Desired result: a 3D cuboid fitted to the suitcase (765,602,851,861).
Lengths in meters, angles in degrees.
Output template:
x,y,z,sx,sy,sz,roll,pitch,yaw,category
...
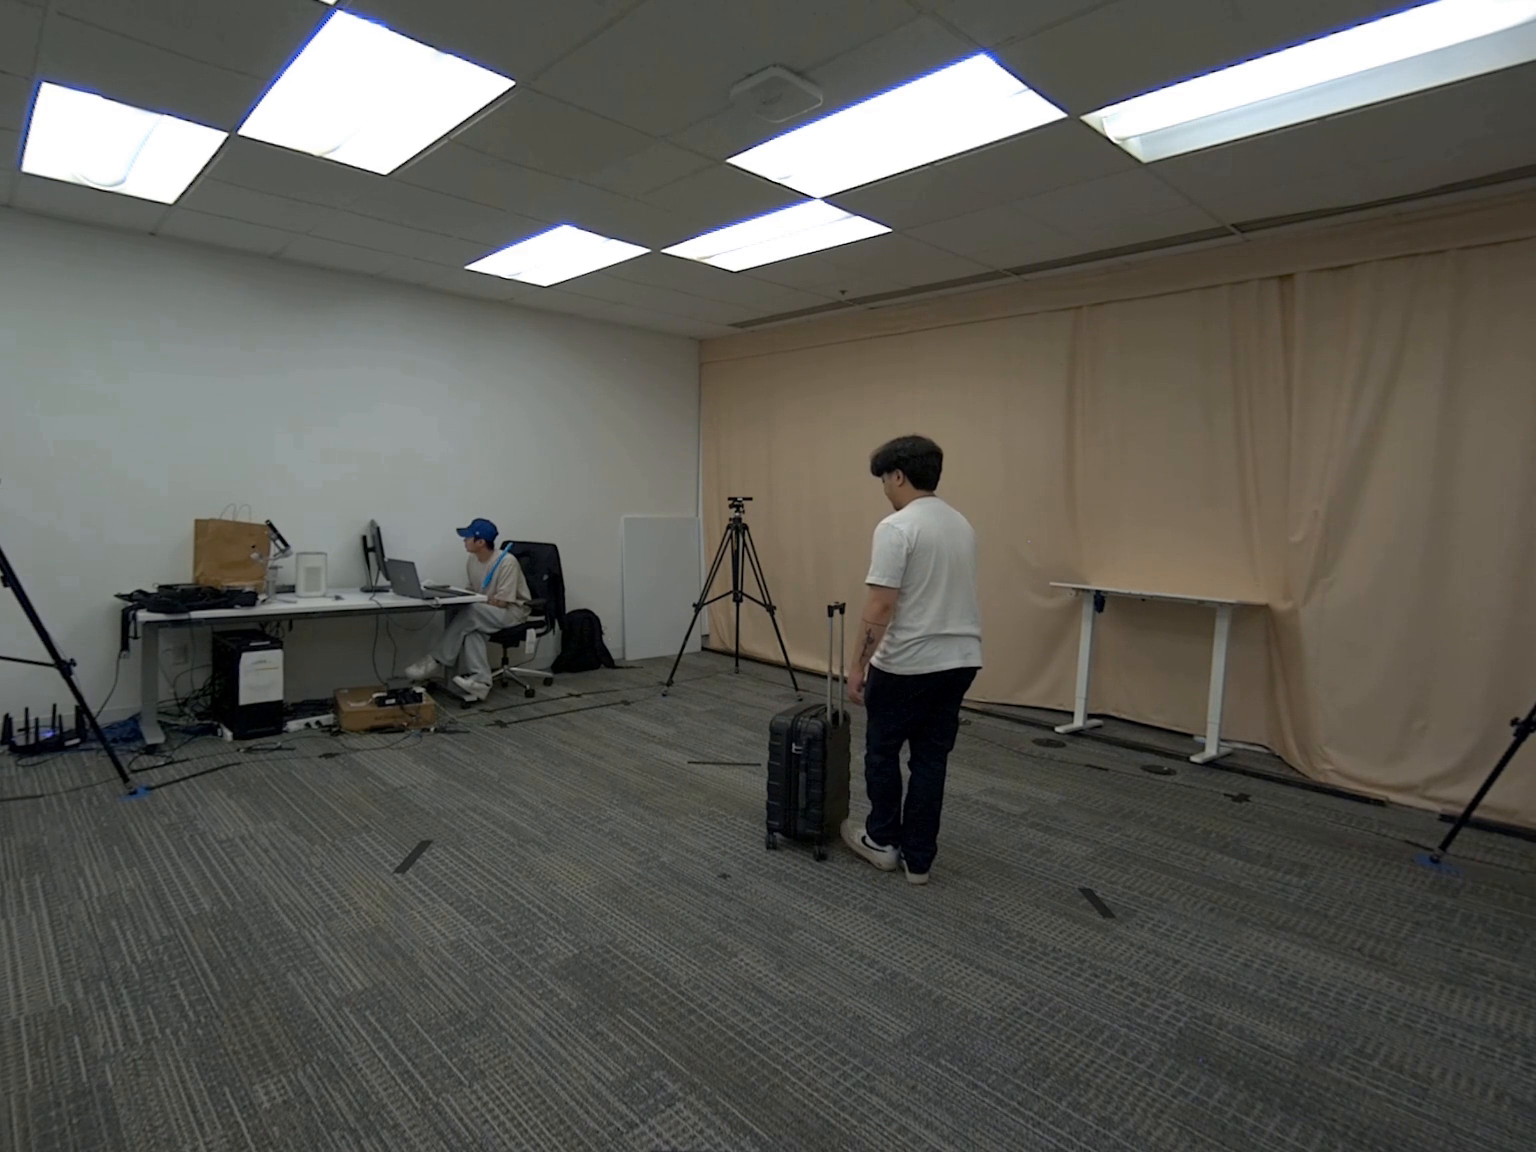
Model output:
x,y,z,sx,sy,sz,roll,pitch,yaw,category
0.157,0.606,3.456,0.262,0.978,0.377,-1,1,26,suitcase
